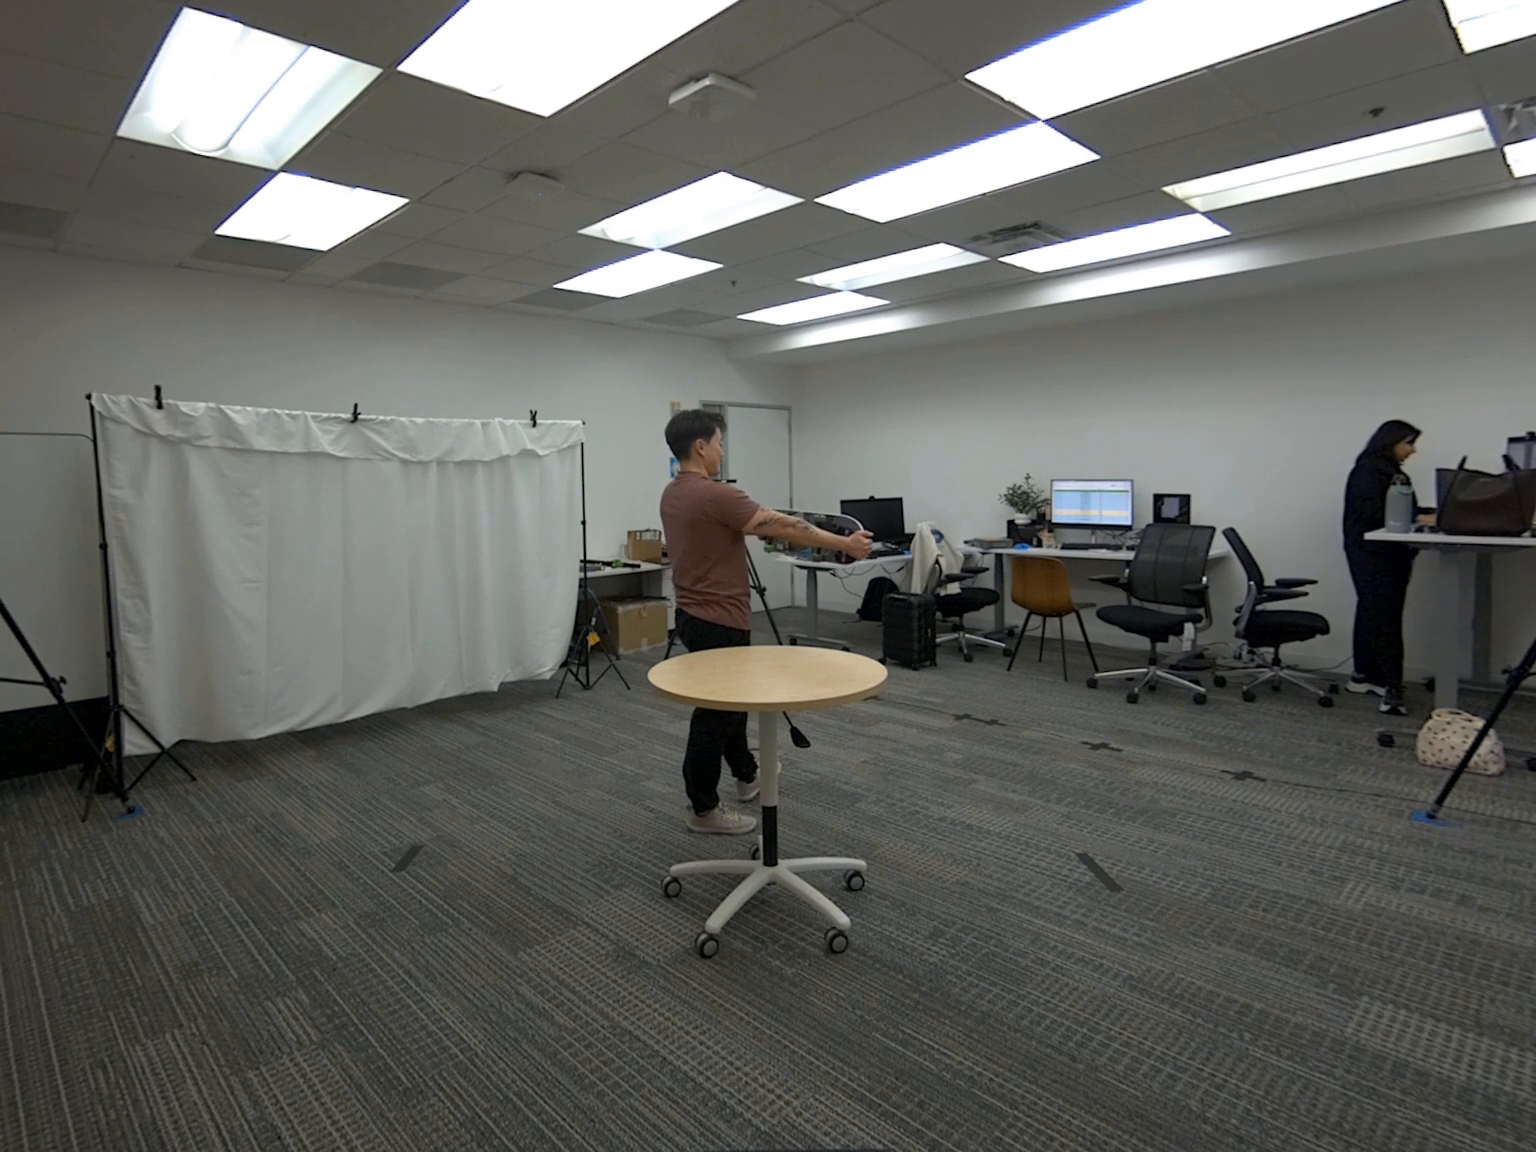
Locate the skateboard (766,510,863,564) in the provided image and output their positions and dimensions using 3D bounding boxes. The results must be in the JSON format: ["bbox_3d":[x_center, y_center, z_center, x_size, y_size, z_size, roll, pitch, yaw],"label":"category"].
[{"bbox_3d":[0.139,-0.174,3.579,0.108,0.192,0.807,-8,10,-28],"label":"skateboard"}]
